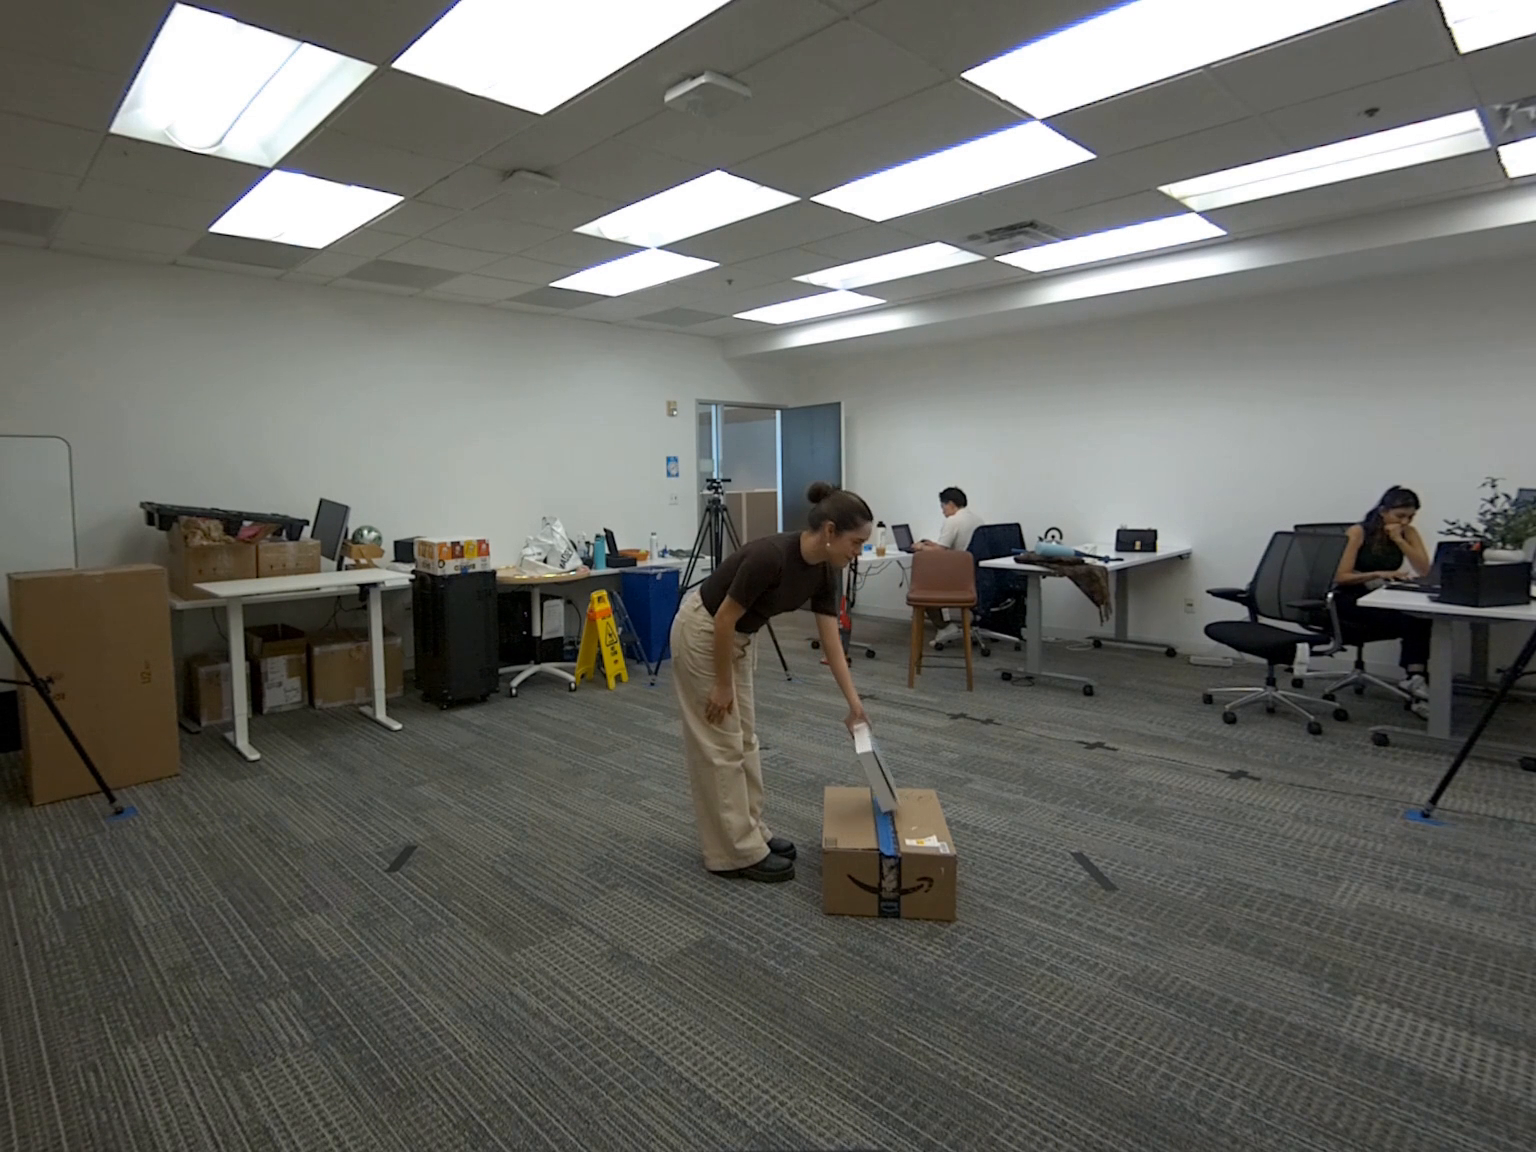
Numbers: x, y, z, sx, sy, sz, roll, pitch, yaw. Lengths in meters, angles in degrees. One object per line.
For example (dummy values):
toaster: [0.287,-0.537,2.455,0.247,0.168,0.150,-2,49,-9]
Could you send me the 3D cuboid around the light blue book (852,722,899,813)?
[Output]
light blue book: [0.371,0.664,3.031,0.059,0.256,0.194,-23,15,7]
